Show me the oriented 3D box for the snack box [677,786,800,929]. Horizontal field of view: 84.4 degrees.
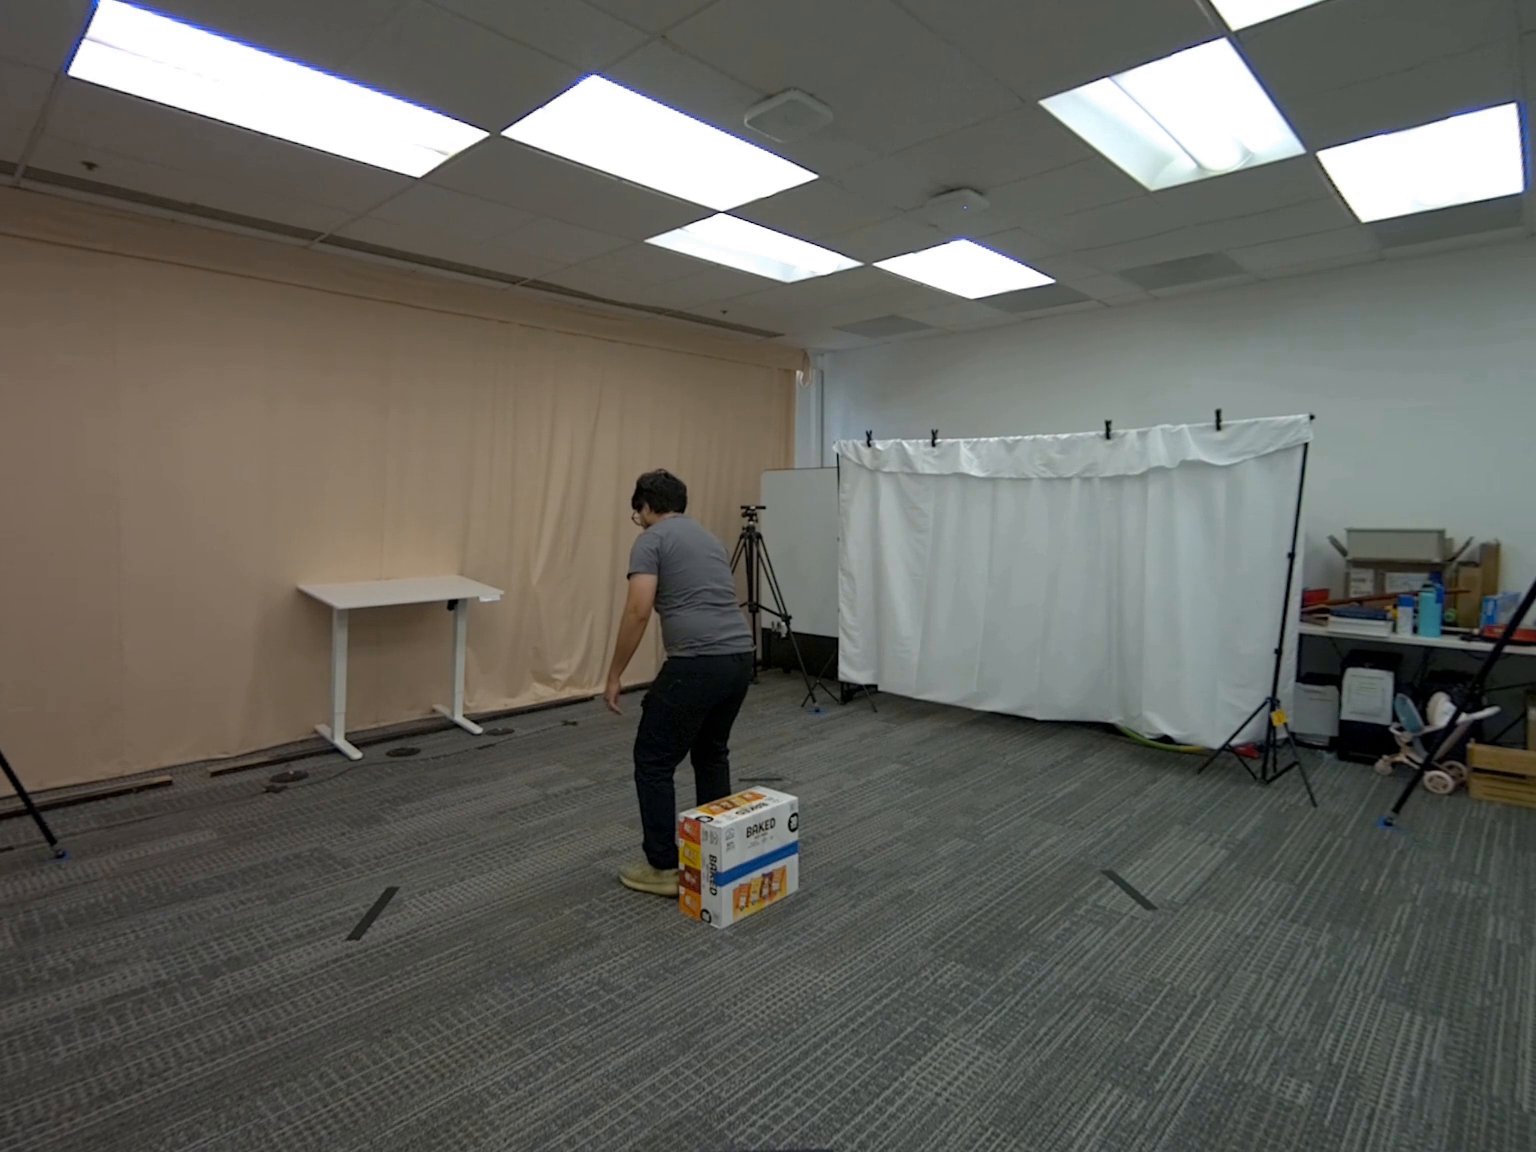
[{"bbox_3d":[-0.094,0.976,2.966,0.212,0.340,0.393,2,4,43],"label":"snack box"}]
